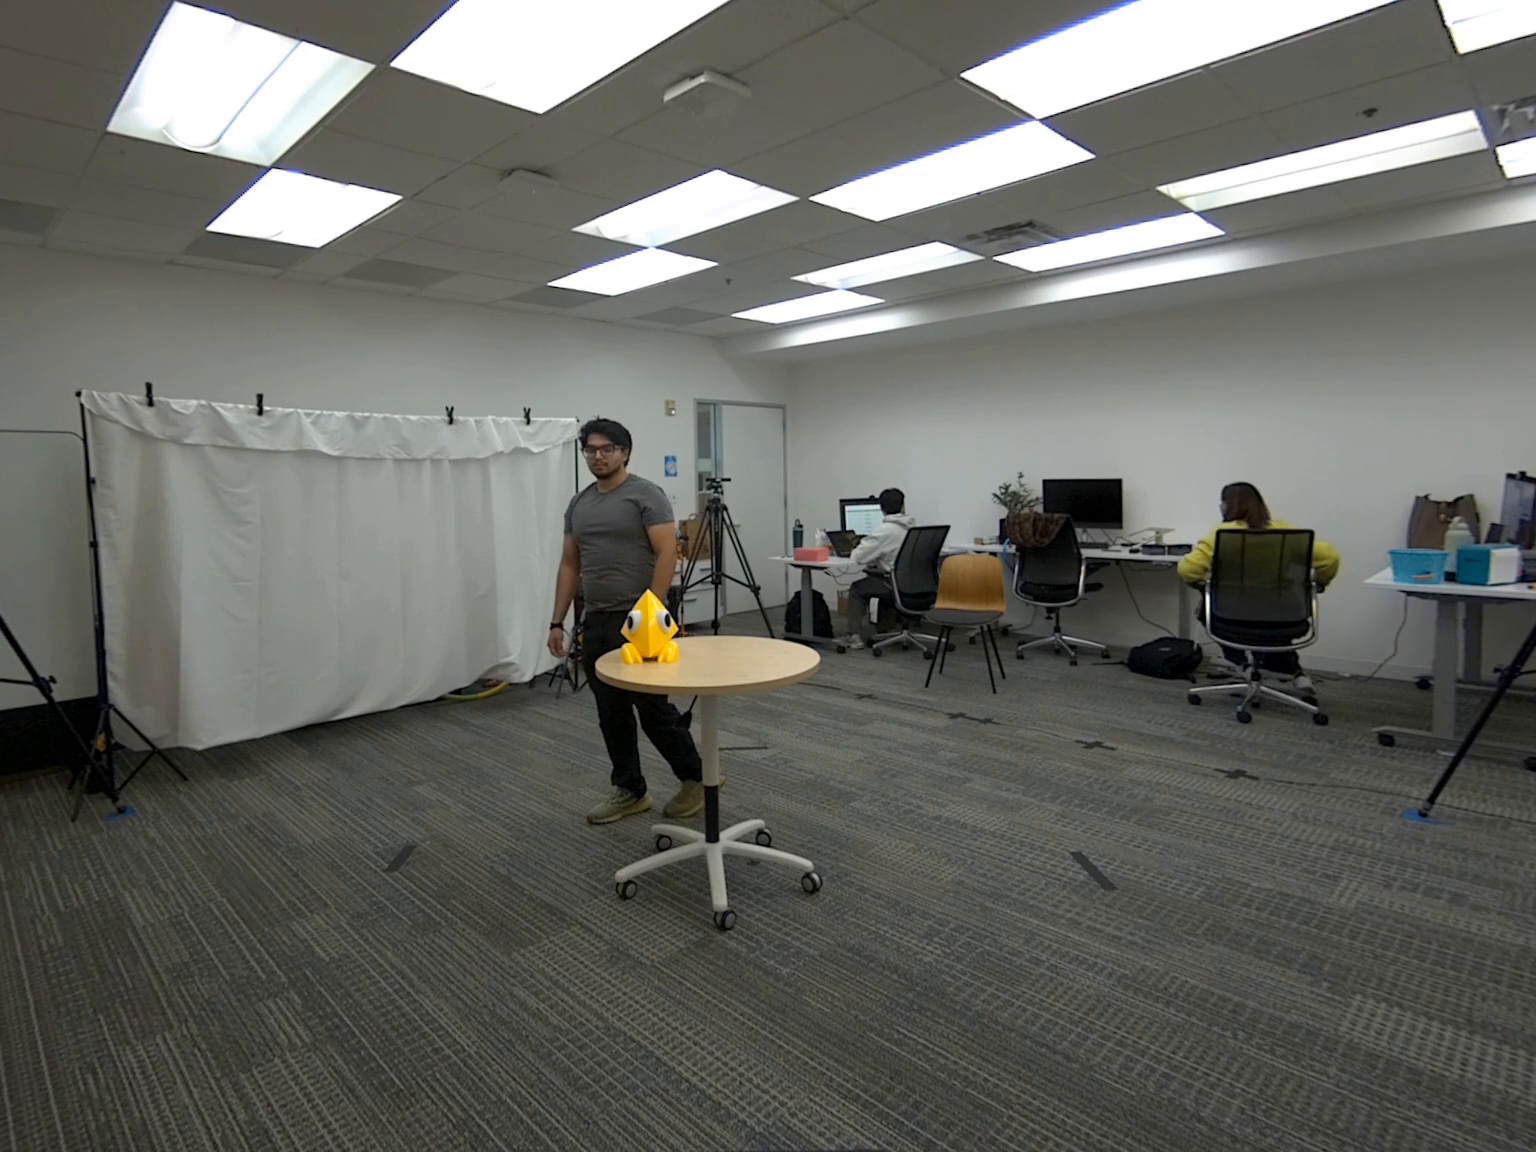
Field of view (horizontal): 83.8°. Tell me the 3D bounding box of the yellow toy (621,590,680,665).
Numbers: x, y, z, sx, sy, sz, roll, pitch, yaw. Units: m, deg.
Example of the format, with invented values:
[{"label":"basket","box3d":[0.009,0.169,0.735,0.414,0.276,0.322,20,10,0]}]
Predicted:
[{"label":"yellow toy","box3d":[-0.404,0.171,2.945,0.204,0.230,0.195,-2,5,-6]}]
